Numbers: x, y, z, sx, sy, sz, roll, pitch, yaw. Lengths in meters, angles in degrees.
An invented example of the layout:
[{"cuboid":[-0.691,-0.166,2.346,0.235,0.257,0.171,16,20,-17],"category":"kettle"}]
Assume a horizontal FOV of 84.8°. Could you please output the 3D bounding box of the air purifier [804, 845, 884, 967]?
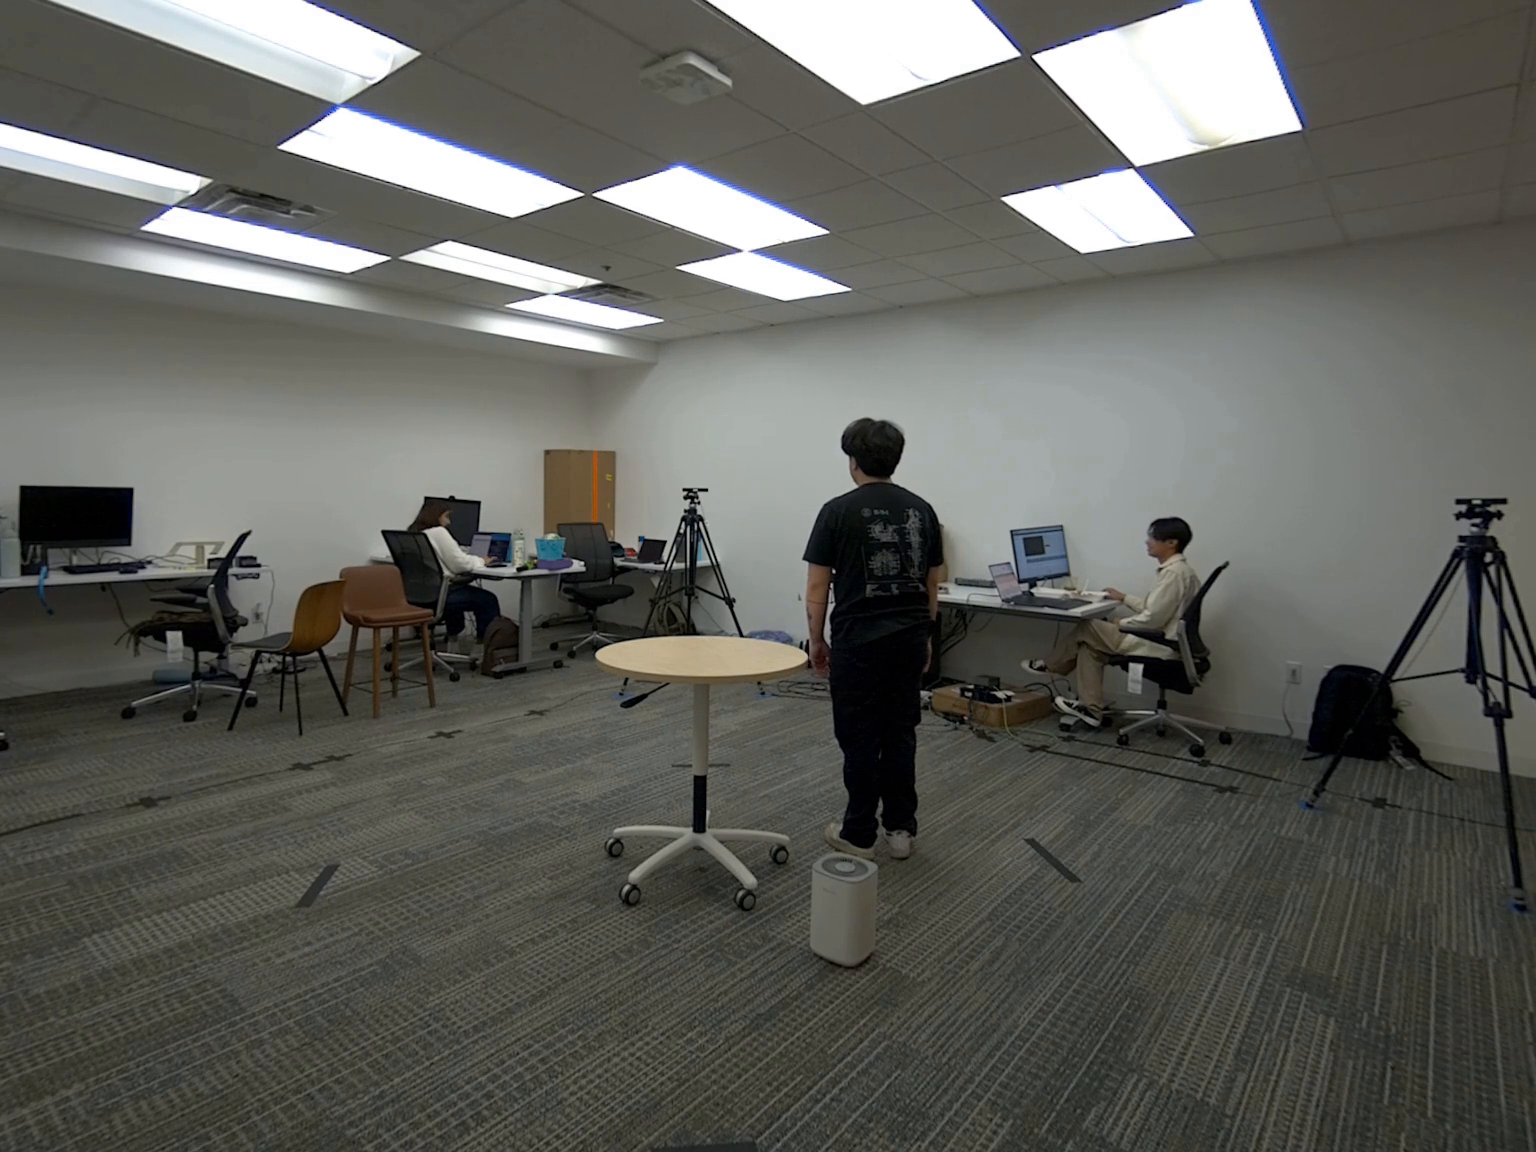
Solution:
[{"cuboid":[0.230,0.991,2.561,0.177,0.264,0.167,4,5,36],"category":"air purifier"}]
